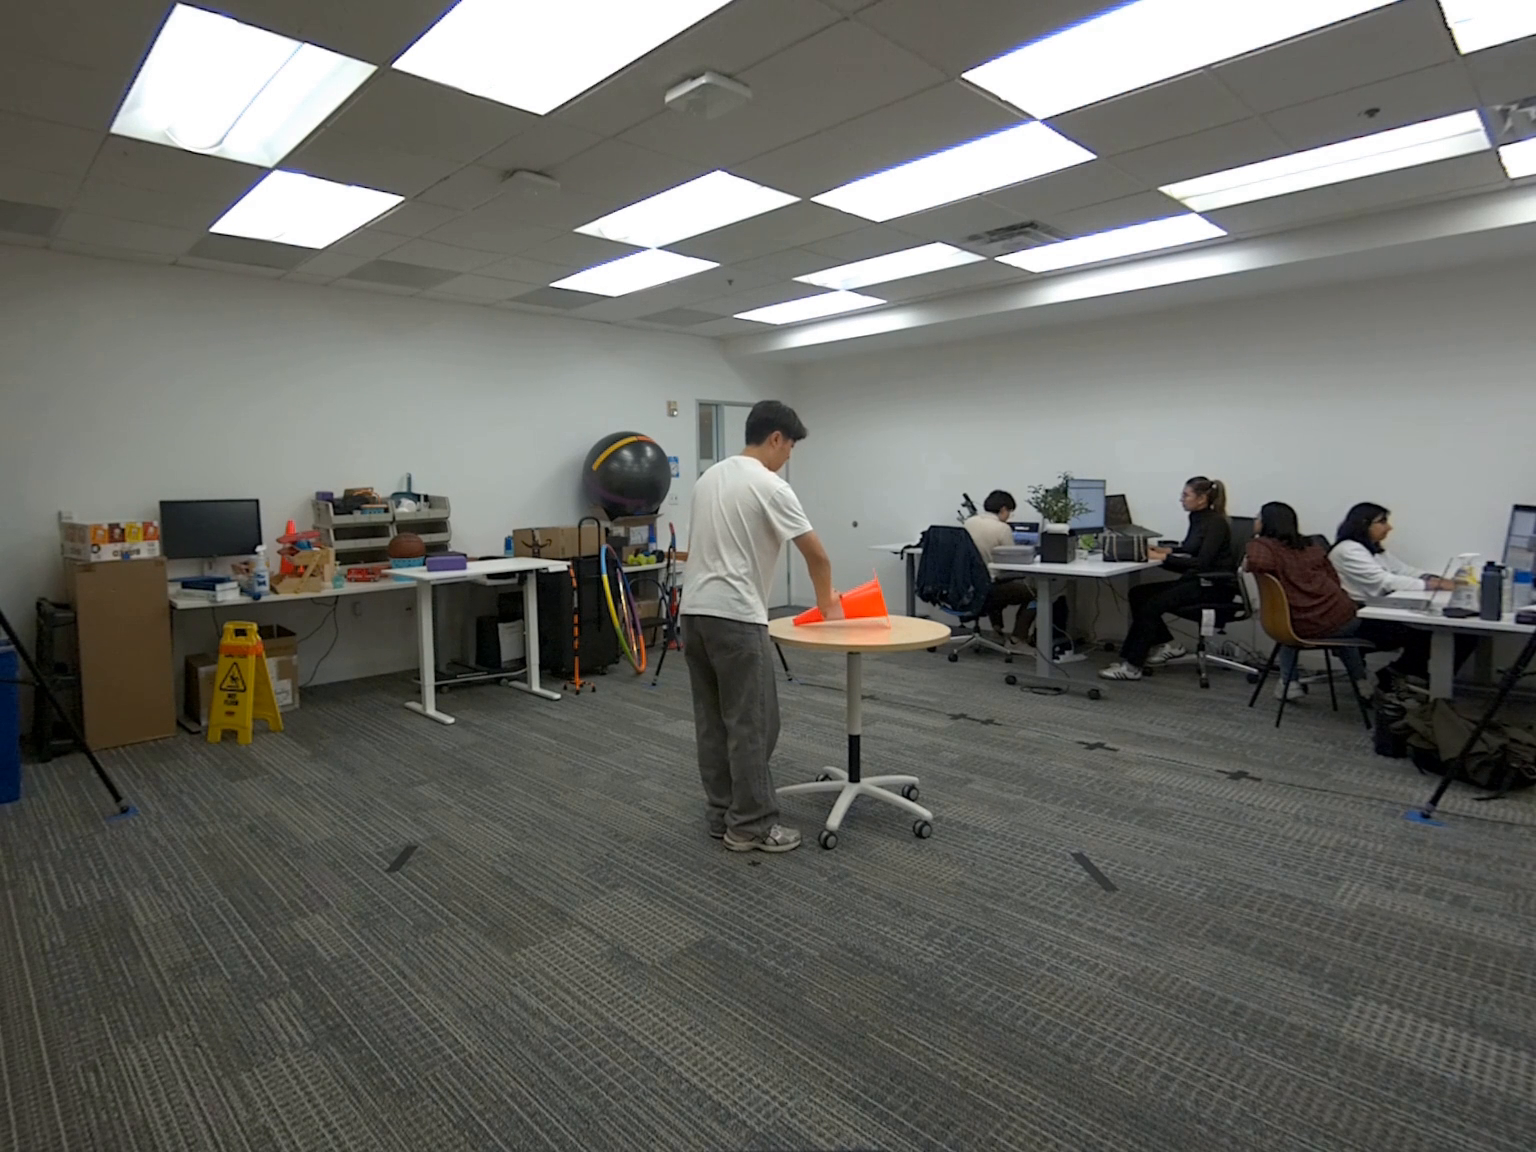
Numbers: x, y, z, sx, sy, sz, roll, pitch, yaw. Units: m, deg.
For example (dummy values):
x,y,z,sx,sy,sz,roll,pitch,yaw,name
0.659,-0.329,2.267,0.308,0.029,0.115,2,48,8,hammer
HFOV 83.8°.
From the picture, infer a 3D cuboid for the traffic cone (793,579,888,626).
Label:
x,y,z,sx,sy,sz,roll,pitch,yaw,name
0.283,0.140,3.526,0.384,0.201,0.207,-16,20,1,traffic cone
